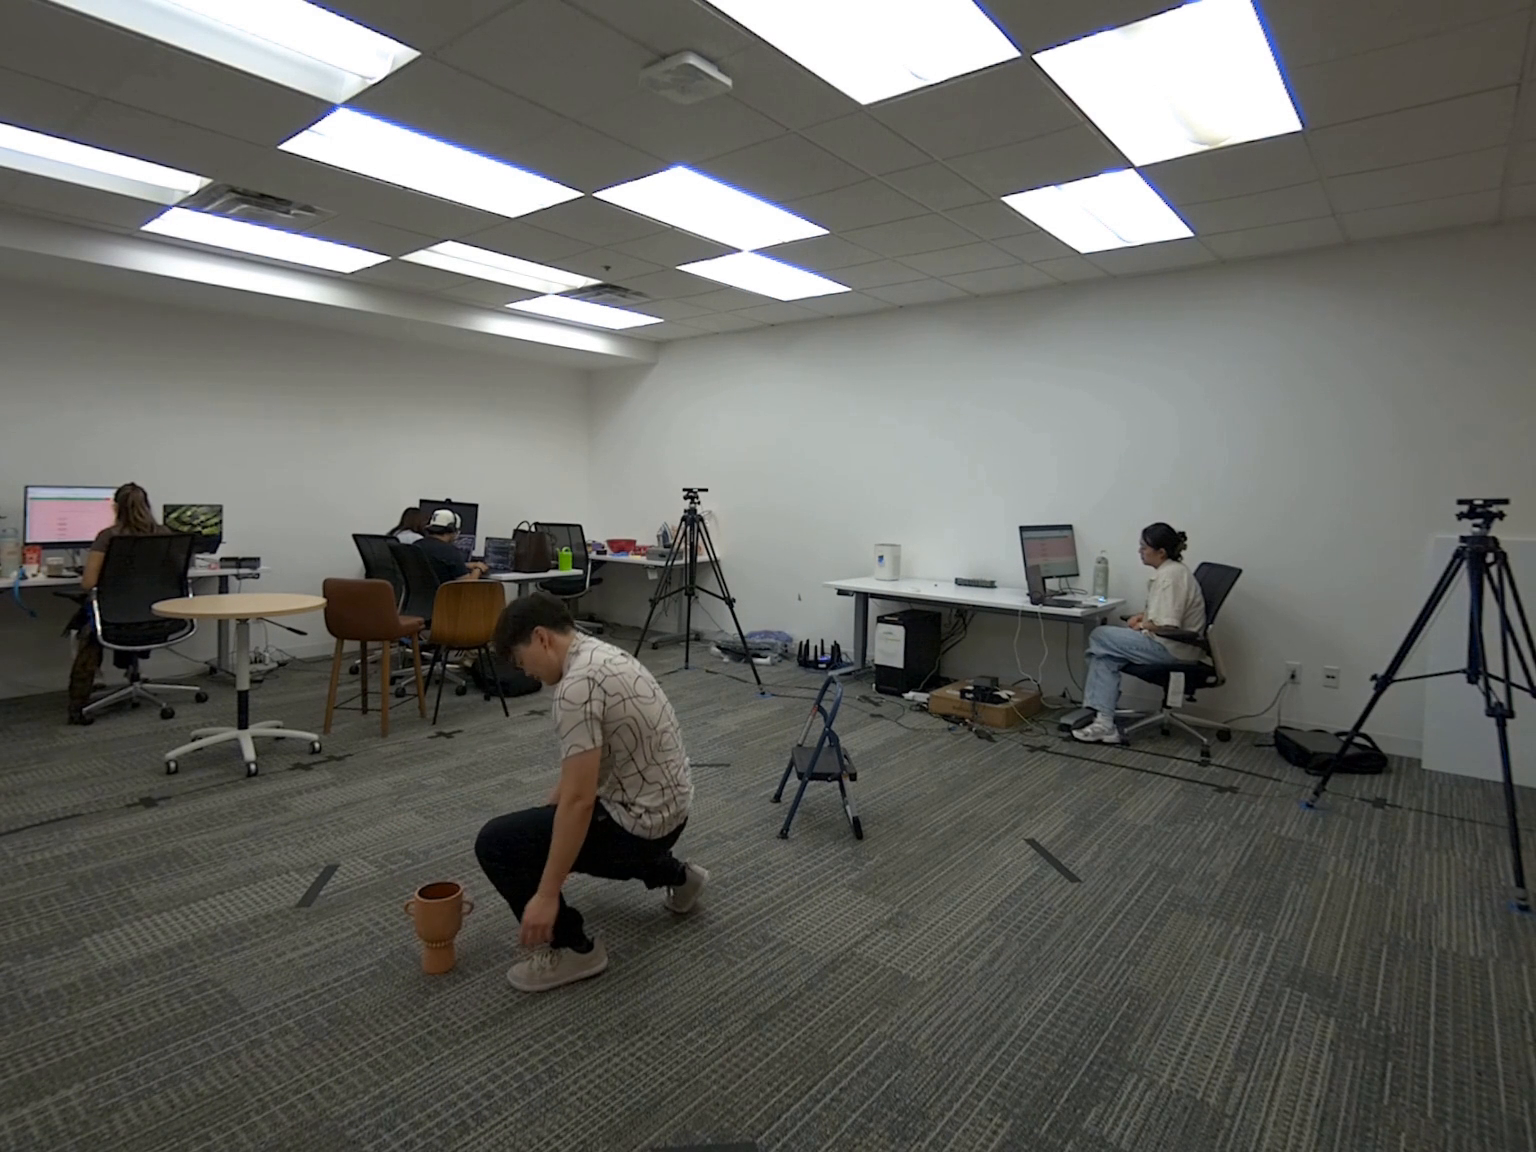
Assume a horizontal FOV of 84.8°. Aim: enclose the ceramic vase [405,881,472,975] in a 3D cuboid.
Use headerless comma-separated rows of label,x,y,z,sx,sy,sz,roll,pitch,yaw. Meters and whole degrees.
ceramic vase,-0.960,1.013,2.460,0.163,0.219,0.131,3,3,30
